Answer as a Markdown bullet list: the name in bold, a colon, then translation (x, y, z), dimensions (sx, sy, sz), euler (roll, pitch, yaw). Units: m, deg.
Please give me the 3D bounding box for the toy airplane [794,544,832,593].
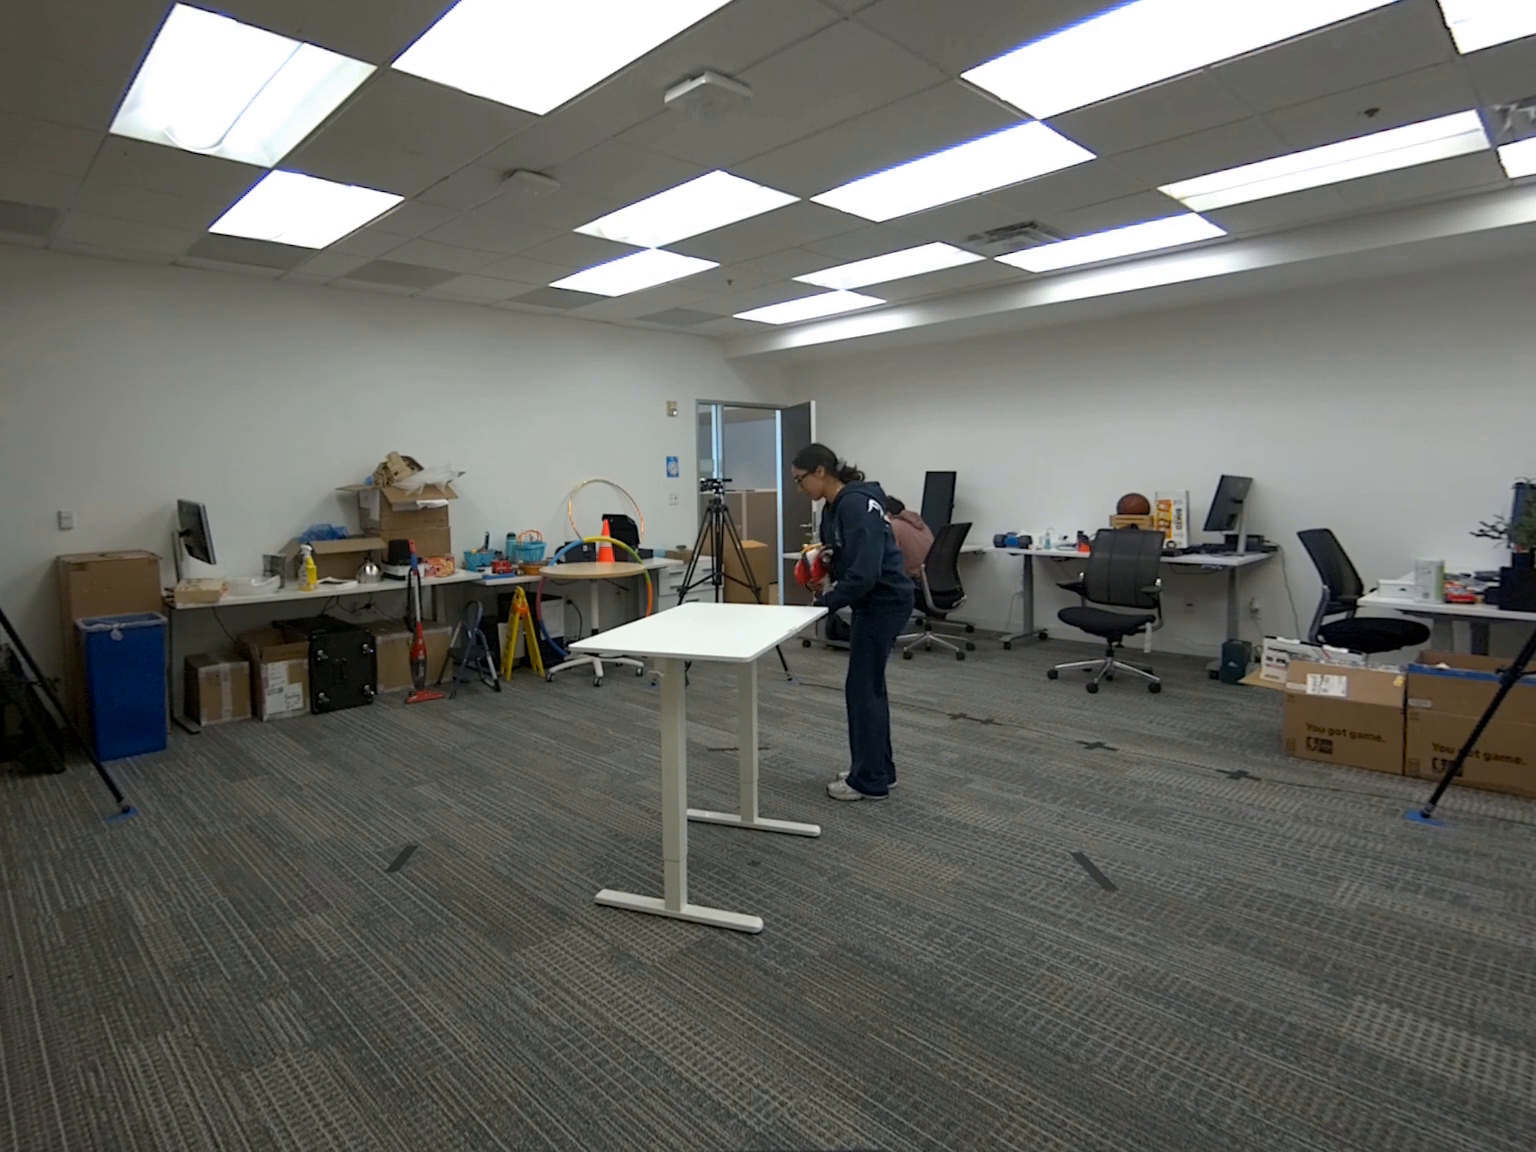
- **toy airplane**: translation (0.225, -0.008, 3.692), dimensions (0.160, 0.260, 0.245), euler (1, -3, 25)
